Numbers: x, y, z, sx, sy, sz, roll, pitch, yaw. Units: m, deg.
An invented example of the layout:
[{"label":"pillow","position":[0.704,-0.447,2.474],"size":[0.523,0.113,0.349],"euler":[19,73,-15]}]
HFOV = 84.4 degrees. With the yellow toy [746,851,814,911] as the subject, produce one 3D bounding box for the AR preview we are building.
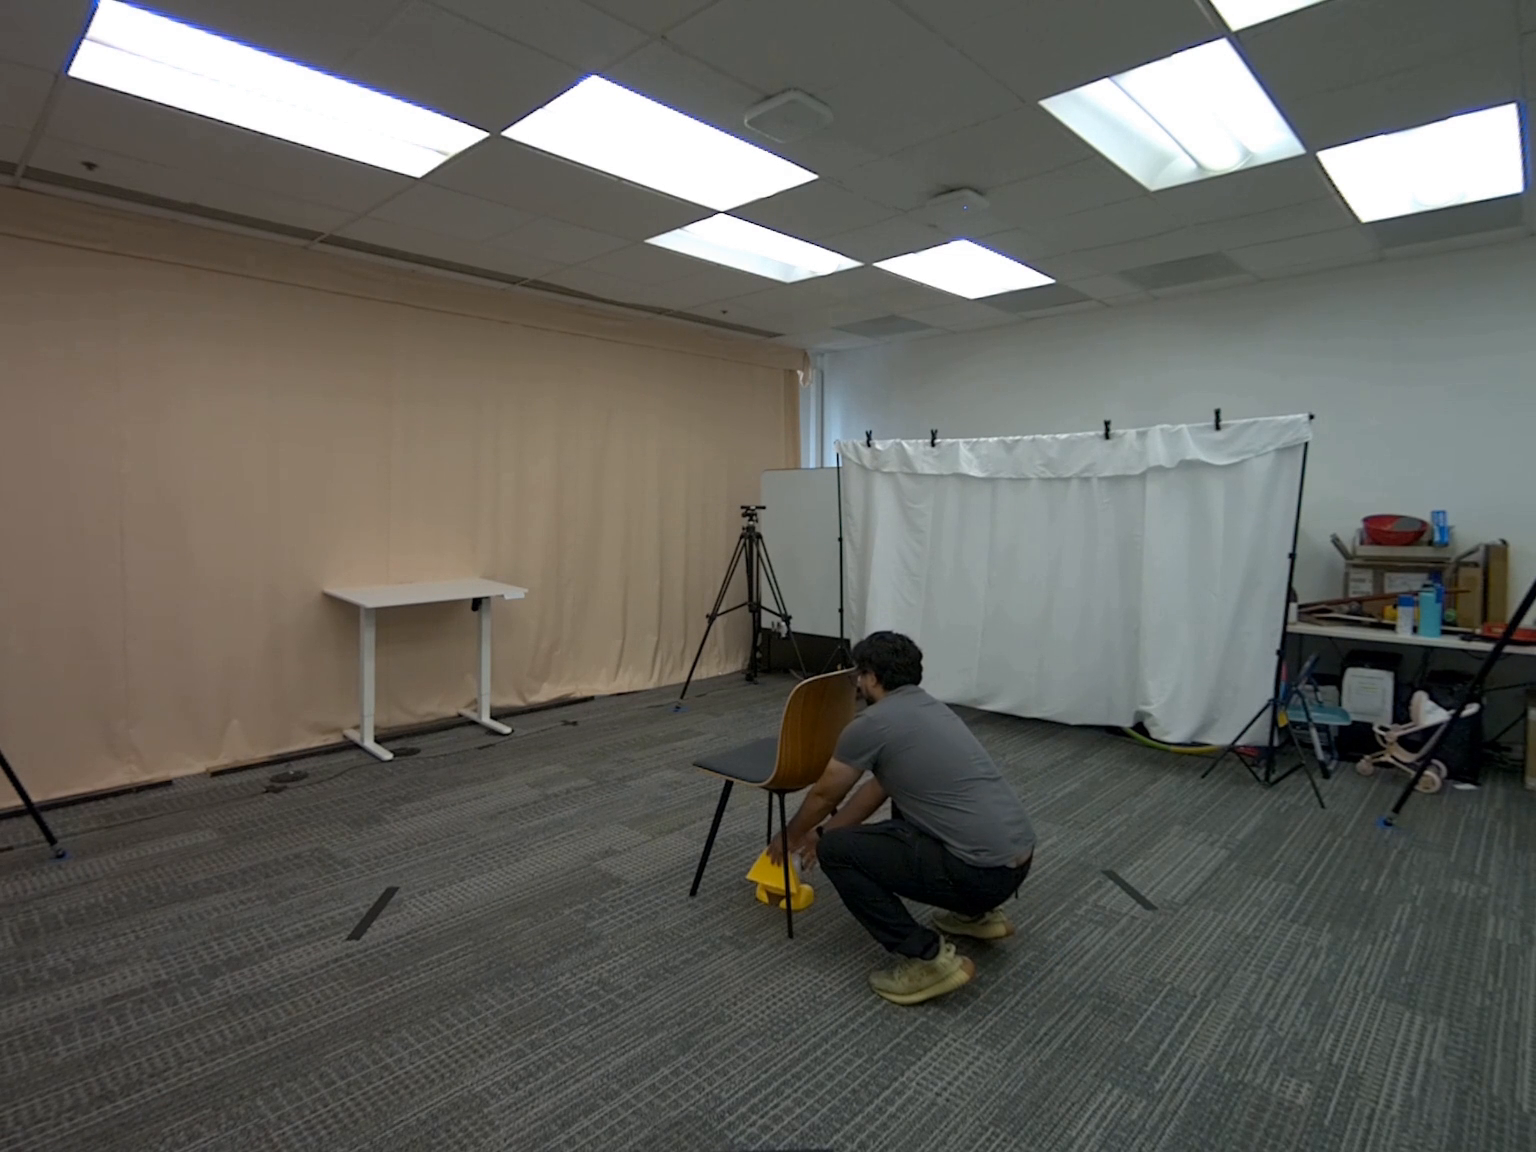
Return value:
[{"label":"yellow toy","position":[0.055,1.037,2.980],"size":[0.211,0.230,0.188],"euler":[2,7,36]}]
